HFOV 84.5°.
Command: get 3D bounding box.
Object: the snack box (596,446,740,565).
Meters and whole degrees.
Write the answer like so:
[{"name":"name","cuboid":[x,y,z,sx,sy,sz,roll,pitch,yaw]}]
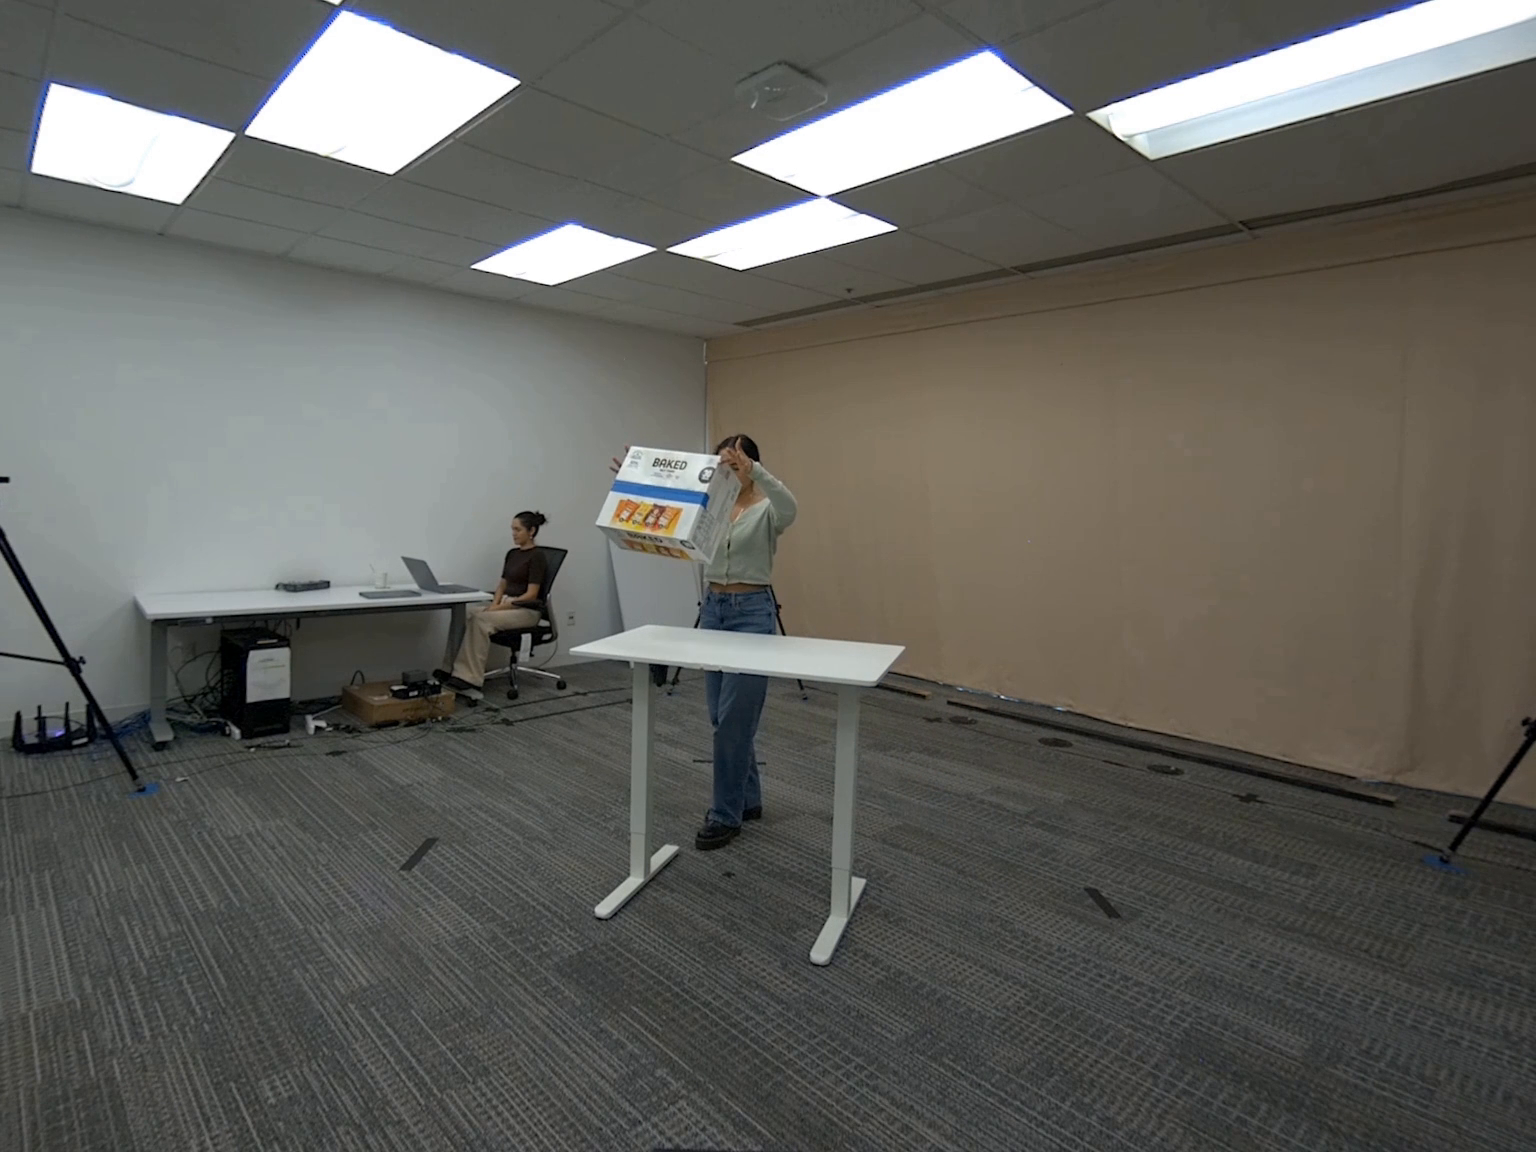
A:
[{"name":"snack box","cuboid":[-0.366,-0.262,3.081,0.414,0.343,0.199,10,-22,28]}]
